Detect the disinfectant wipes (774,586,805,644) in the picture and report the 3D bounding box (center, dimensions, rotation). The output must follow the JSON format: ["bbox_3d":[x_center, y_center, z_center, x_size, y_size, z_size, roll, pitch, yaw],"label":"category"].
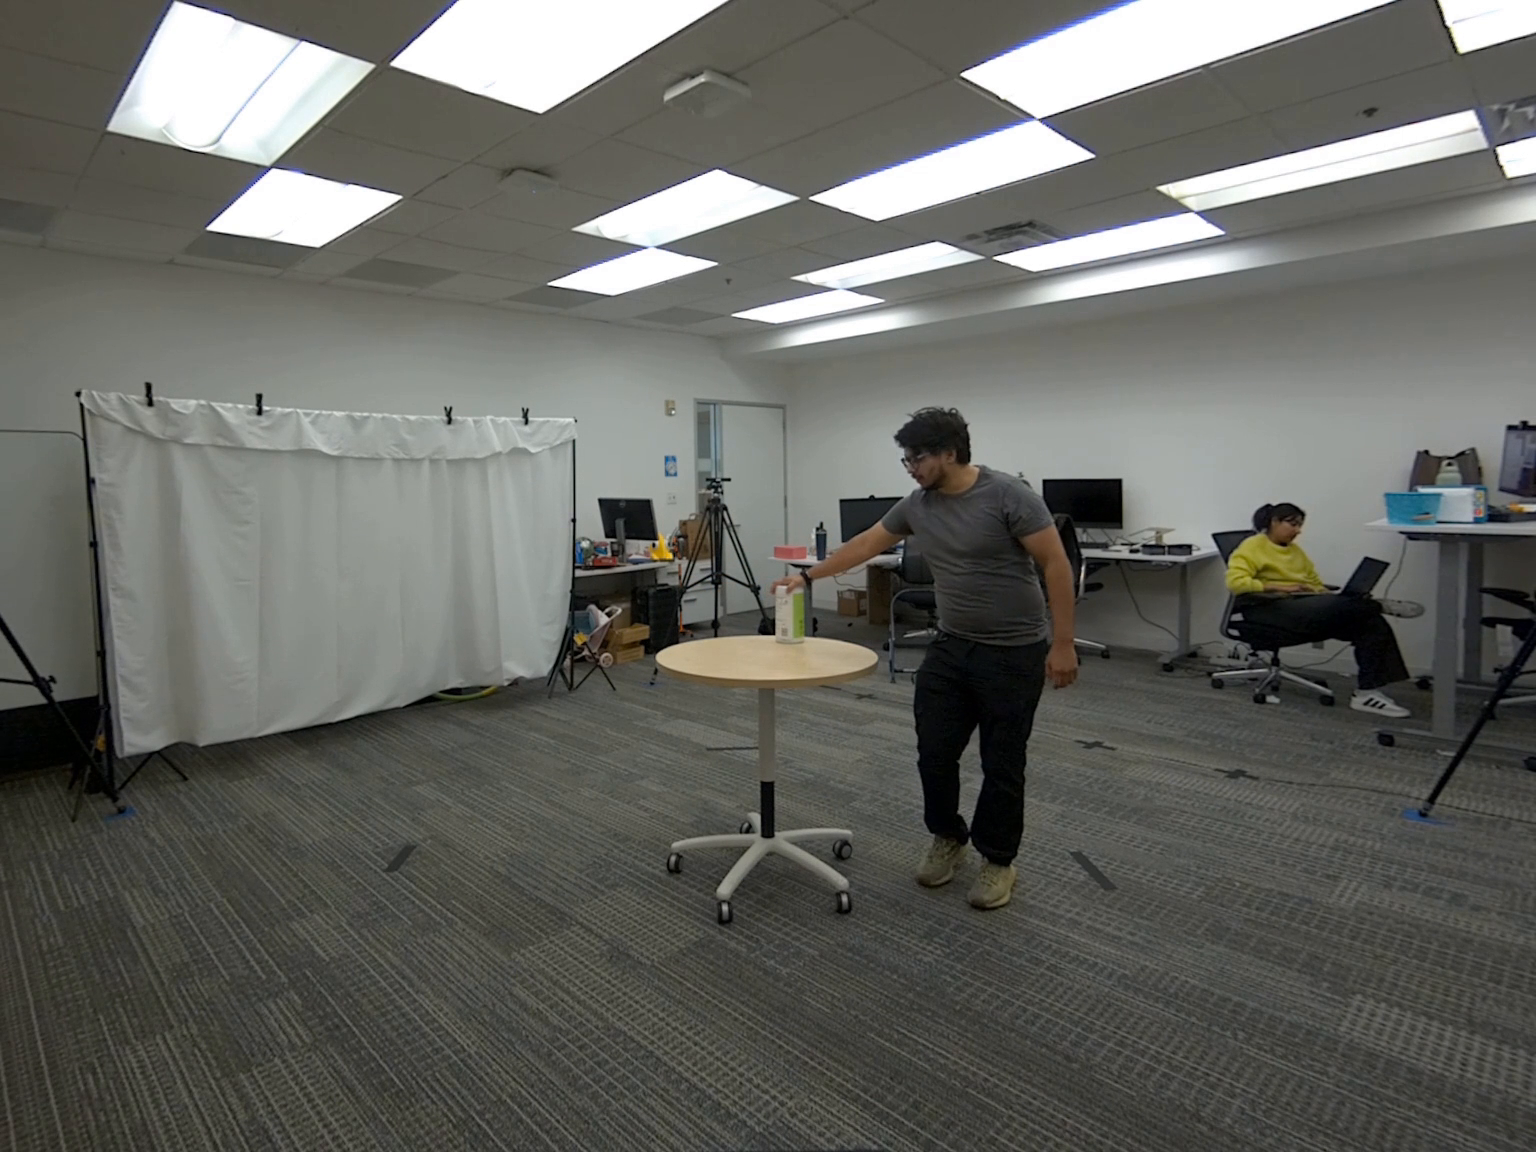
[{"bbox_3d":[0.088,0.142,3.212,0.118,0.217,0.118,1,3,-2],"label":"disinfectant wipes"}]
